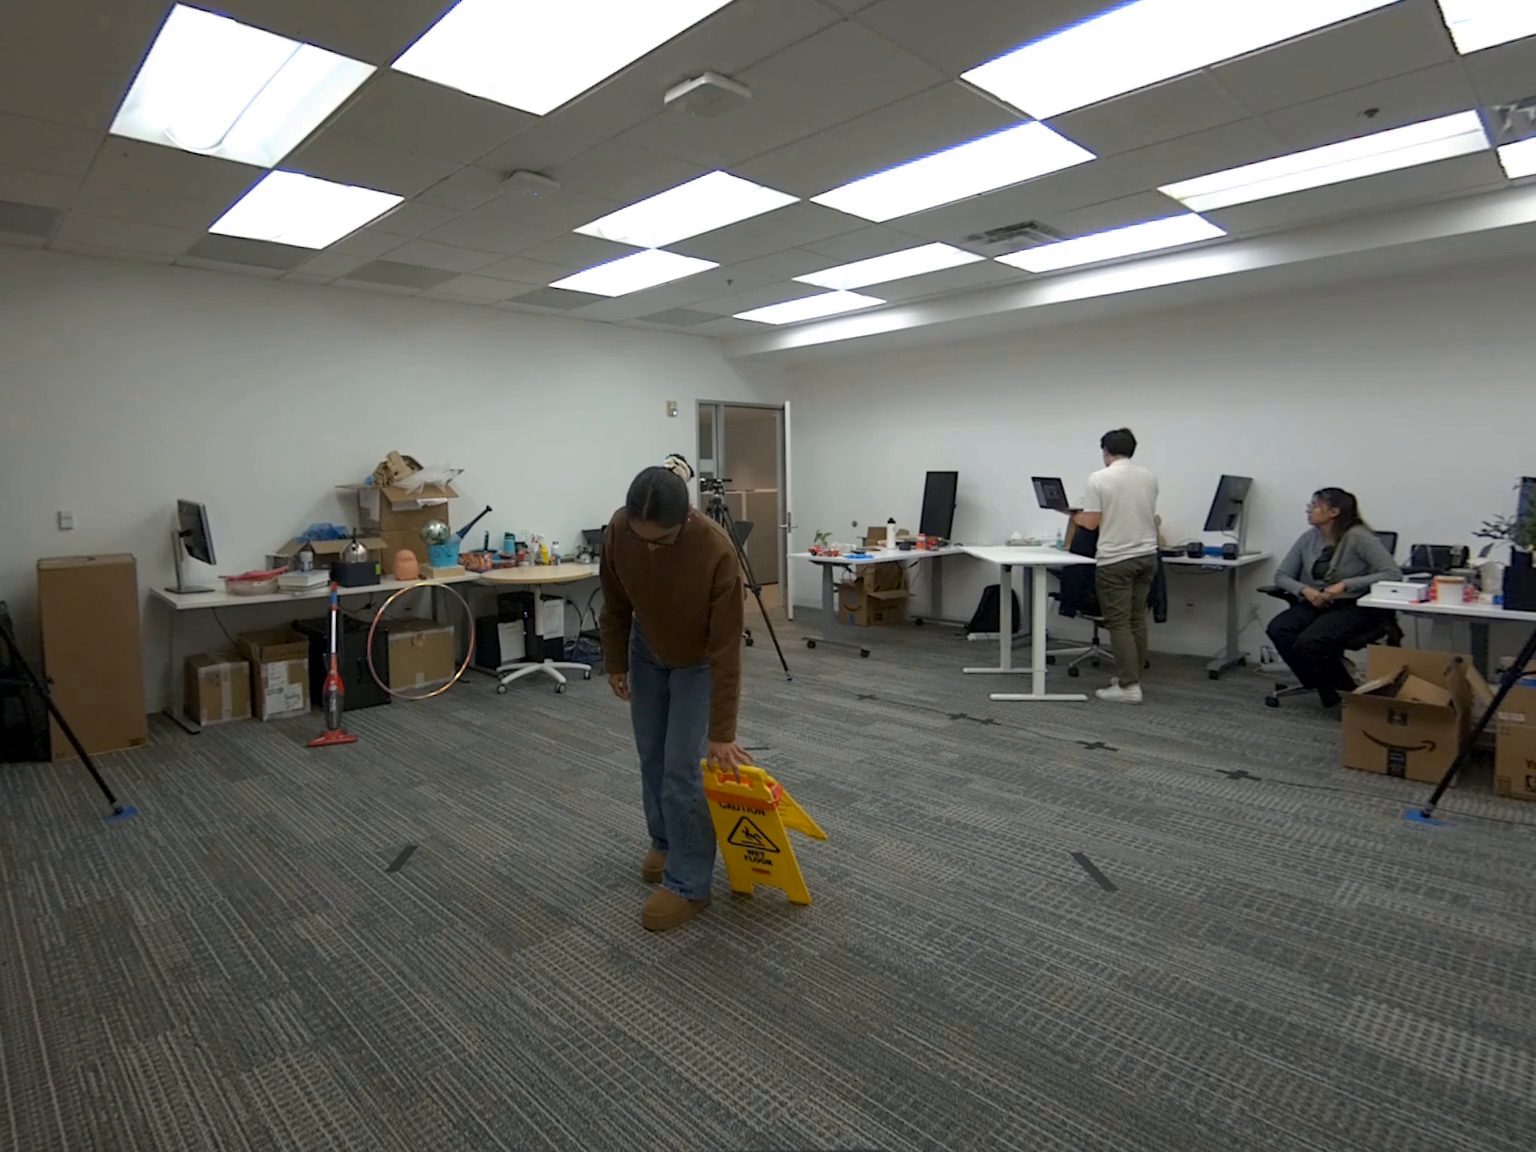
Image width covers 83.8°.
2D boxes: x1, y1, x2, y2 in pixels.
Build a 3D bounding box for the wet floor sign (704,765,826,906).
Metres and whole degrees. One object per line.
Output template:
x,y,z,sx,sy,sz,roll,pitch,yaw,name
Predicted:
-0.025,0.770,2.705,0.288,0.623,0.294,1,47,22,wet floor sign
